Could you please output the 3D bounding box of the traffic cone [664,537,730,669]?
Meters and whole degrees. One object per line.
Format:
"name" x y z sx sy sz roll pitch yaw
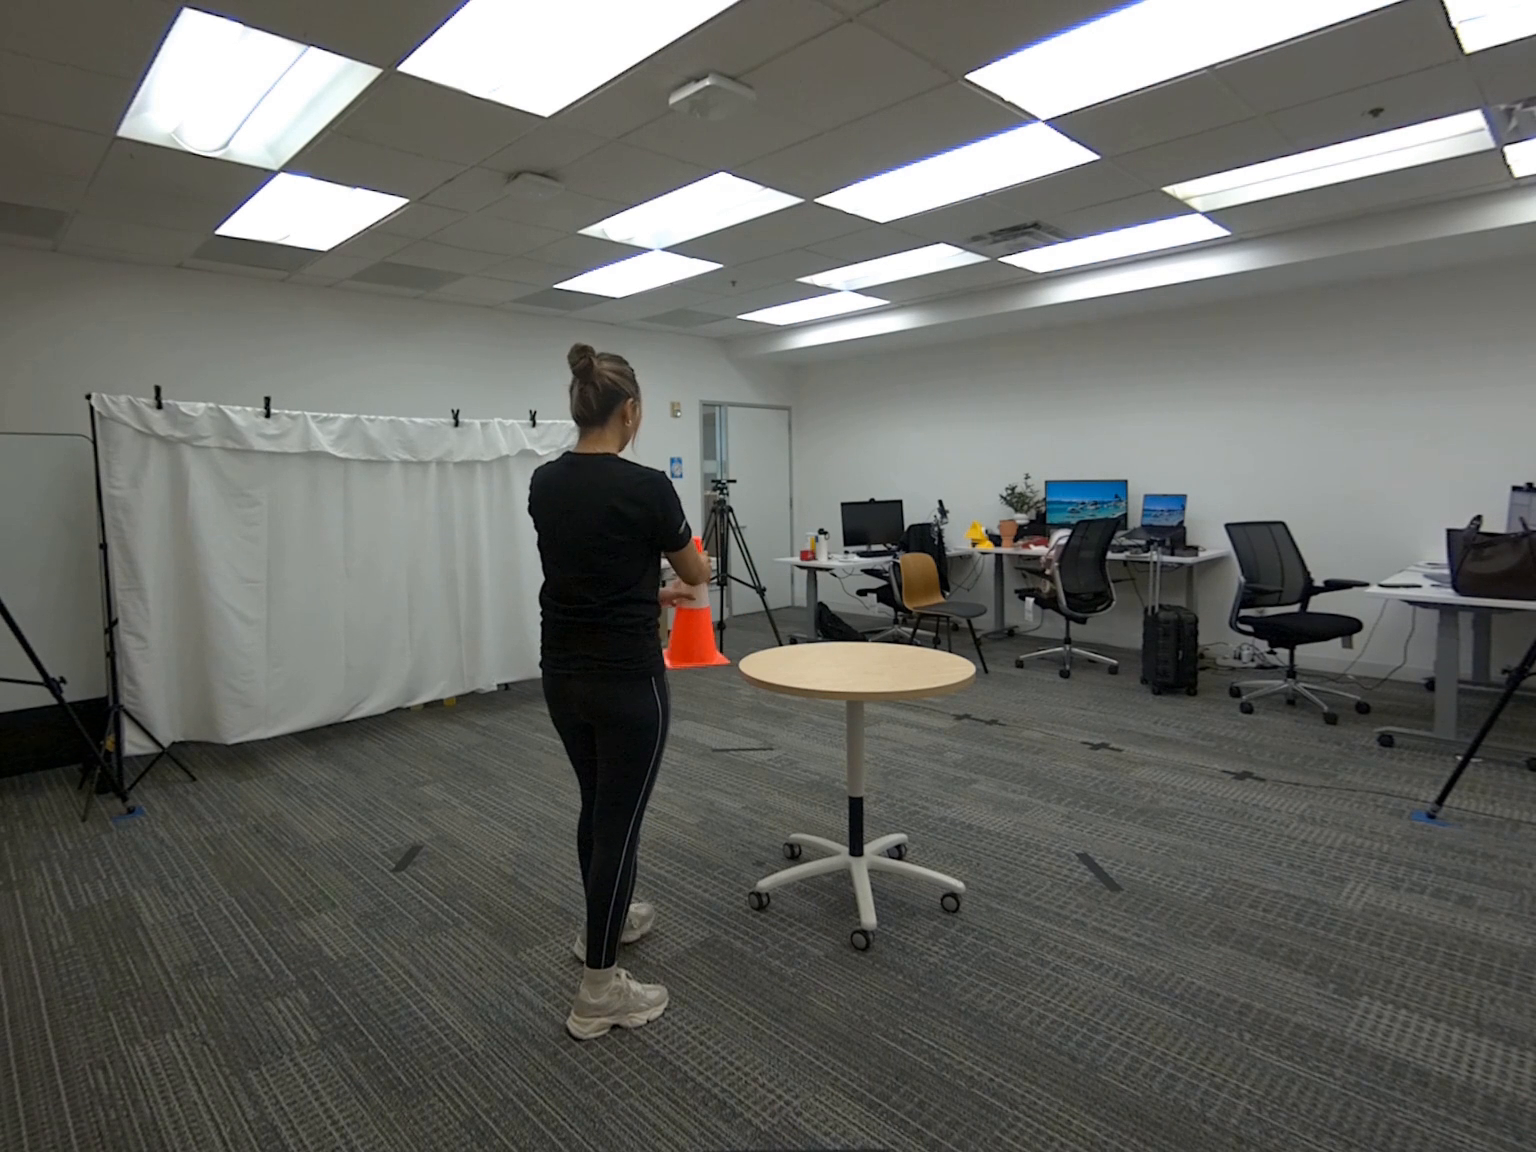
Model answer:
"traffic cone" -0.220 0.070 2.652 0.201 0.381 0.209 -1 10 -21
